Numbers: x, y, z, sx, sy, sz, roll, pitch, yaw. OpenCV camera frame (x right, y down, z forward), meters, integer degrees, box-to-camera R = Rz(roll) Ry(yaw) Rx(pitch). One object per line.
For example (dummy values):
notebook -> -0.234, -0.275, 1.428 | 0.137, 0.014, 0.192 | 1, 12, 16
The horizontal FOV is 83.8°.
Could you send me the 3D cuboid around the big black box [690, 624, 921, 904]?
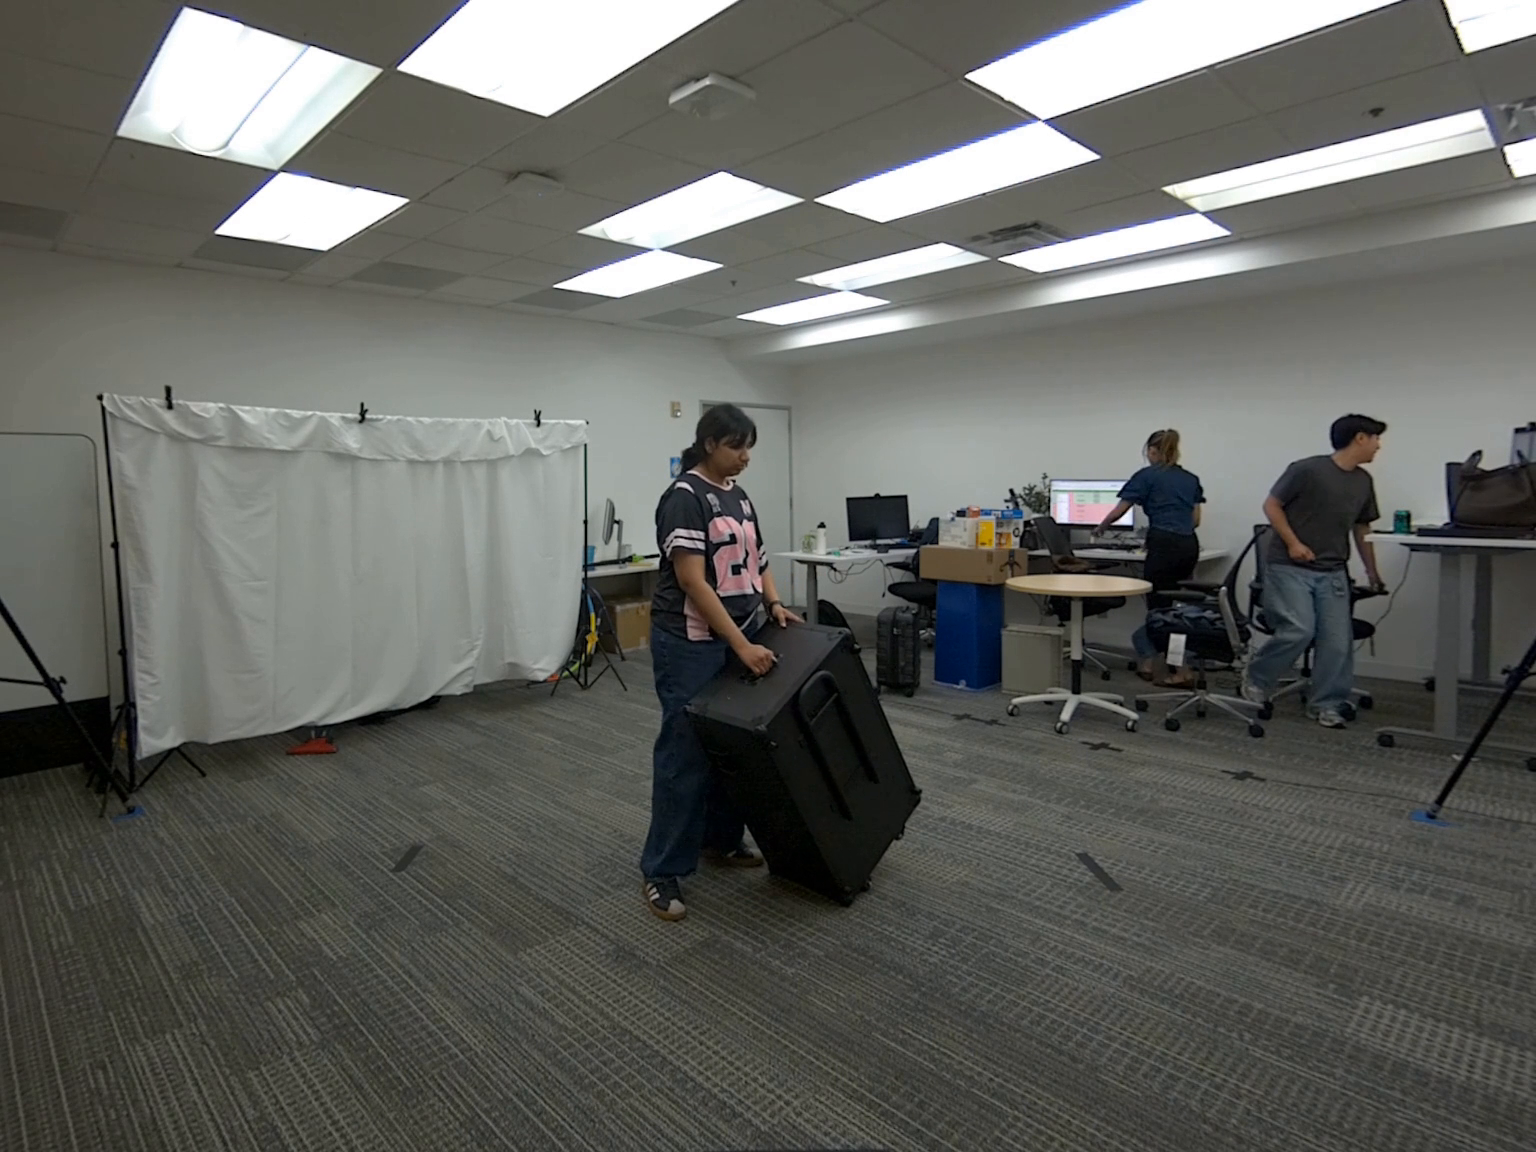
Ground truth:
big black box -> 0.157, 0.636, 2.895 | 0.397, 0.845, 0.522 | 3, 37, 45
